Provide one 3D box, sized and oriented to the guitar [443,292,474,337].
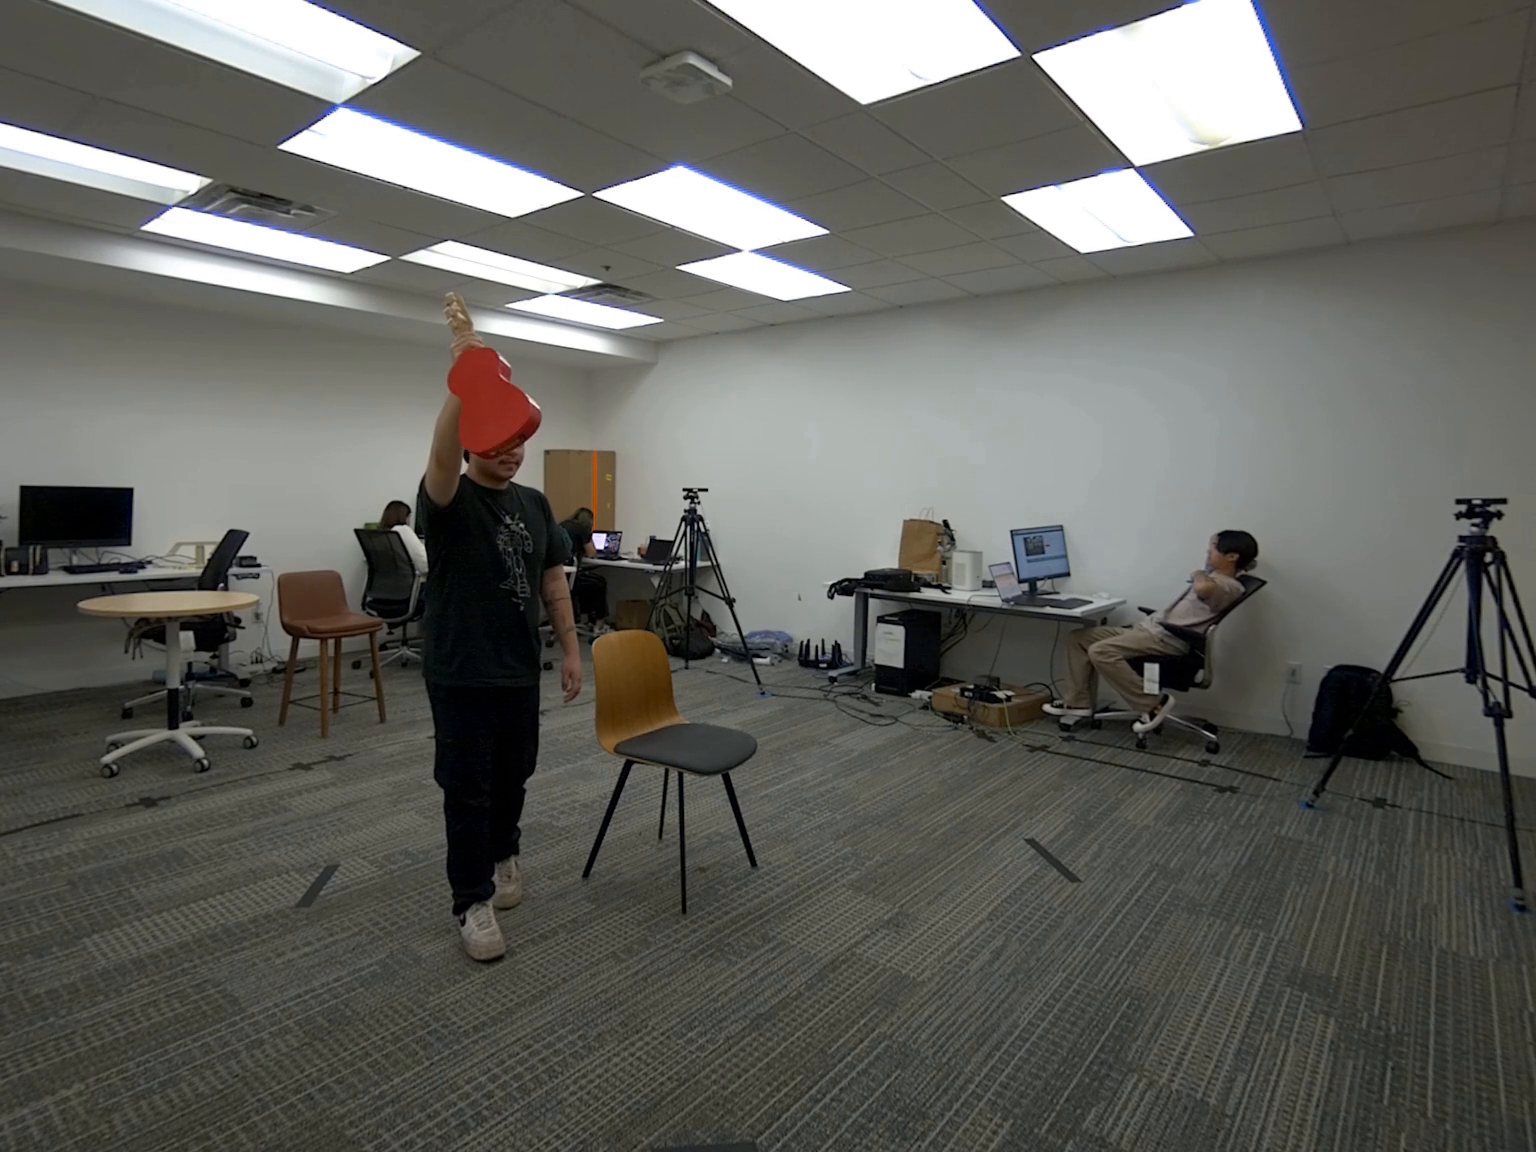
[{"bbox_3d":[-0.746,-0.505,2.101,0.193,0.513,0.068,-37,-22,5],"label":"guitar"}]
